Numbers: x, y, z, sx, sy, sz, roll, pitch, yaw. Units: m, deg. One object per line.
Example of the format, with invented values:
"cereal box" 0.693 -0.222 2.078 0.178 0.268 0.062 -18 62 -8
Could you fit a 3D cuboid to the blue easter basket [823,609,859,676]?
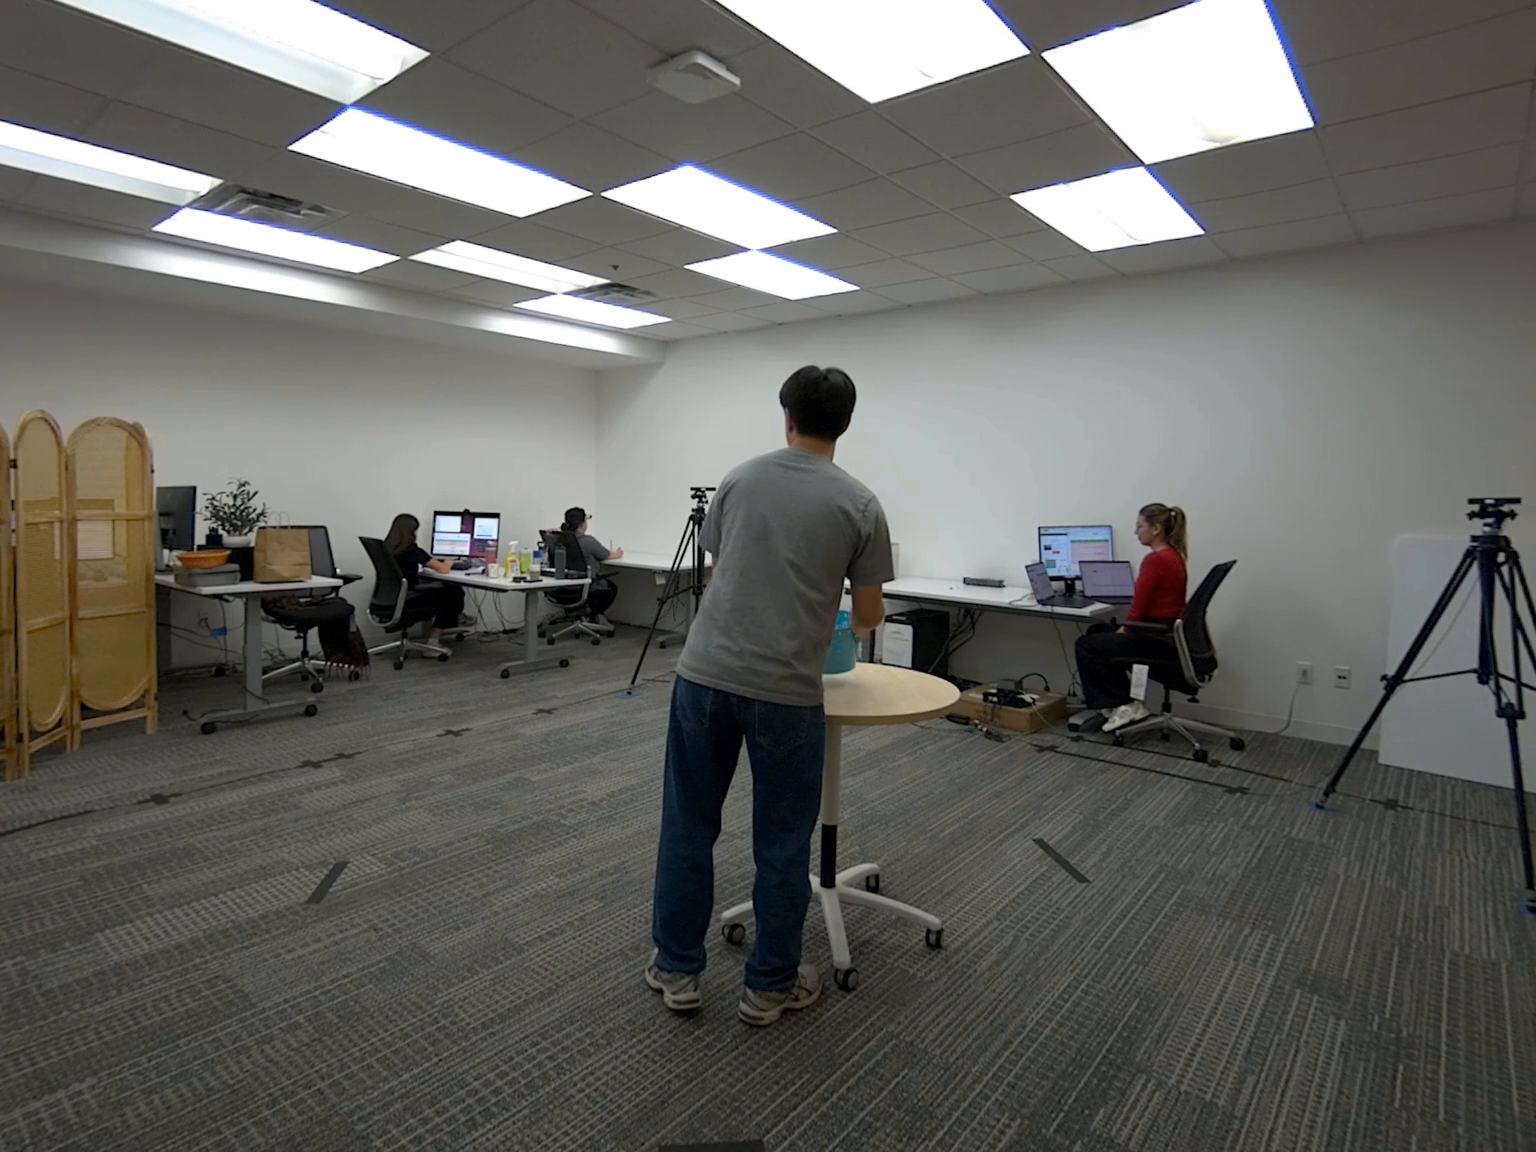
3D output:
"blue easter basket" 0.168 0.205 2.677 0.243 0.154 0.247 -2 13 -1
